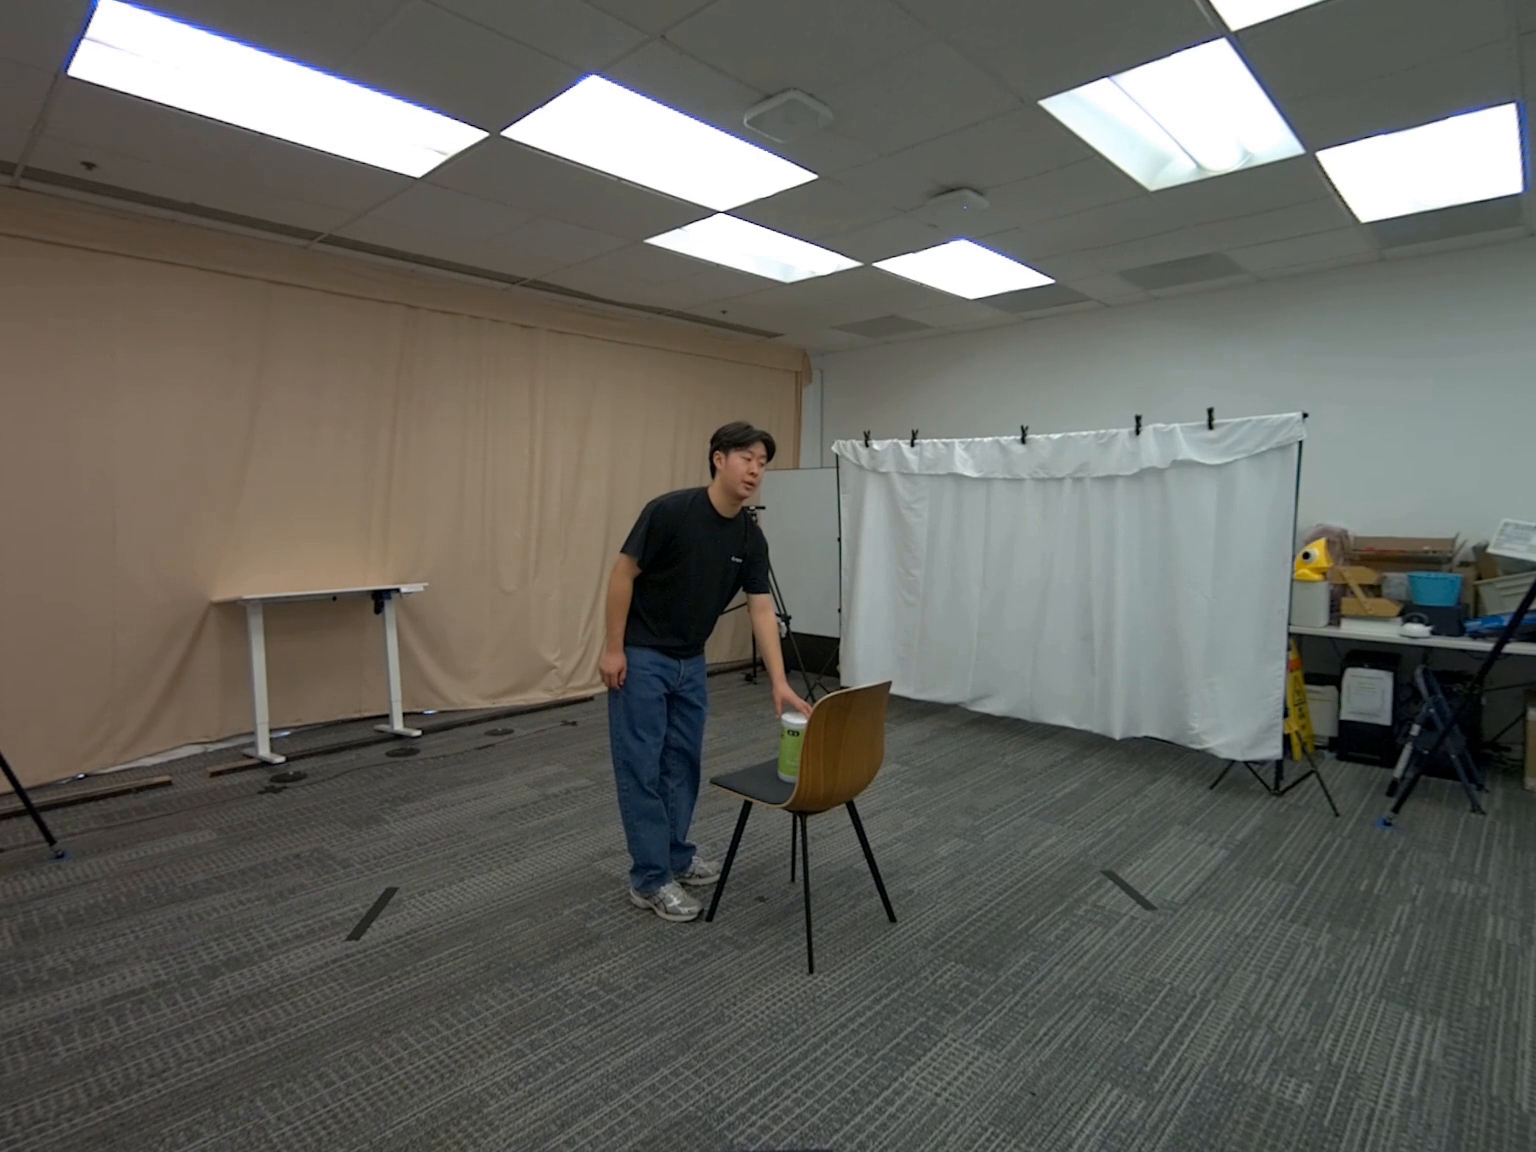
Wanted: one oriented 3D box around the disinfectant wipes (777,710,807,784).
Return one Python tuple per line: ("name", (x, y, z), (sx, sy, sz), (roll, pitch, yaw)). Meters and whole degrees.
("disinfectant wipes", (0.101, 0.574, 2.827), (0.117, 0.216, 0.118), (4, 8, -2))
